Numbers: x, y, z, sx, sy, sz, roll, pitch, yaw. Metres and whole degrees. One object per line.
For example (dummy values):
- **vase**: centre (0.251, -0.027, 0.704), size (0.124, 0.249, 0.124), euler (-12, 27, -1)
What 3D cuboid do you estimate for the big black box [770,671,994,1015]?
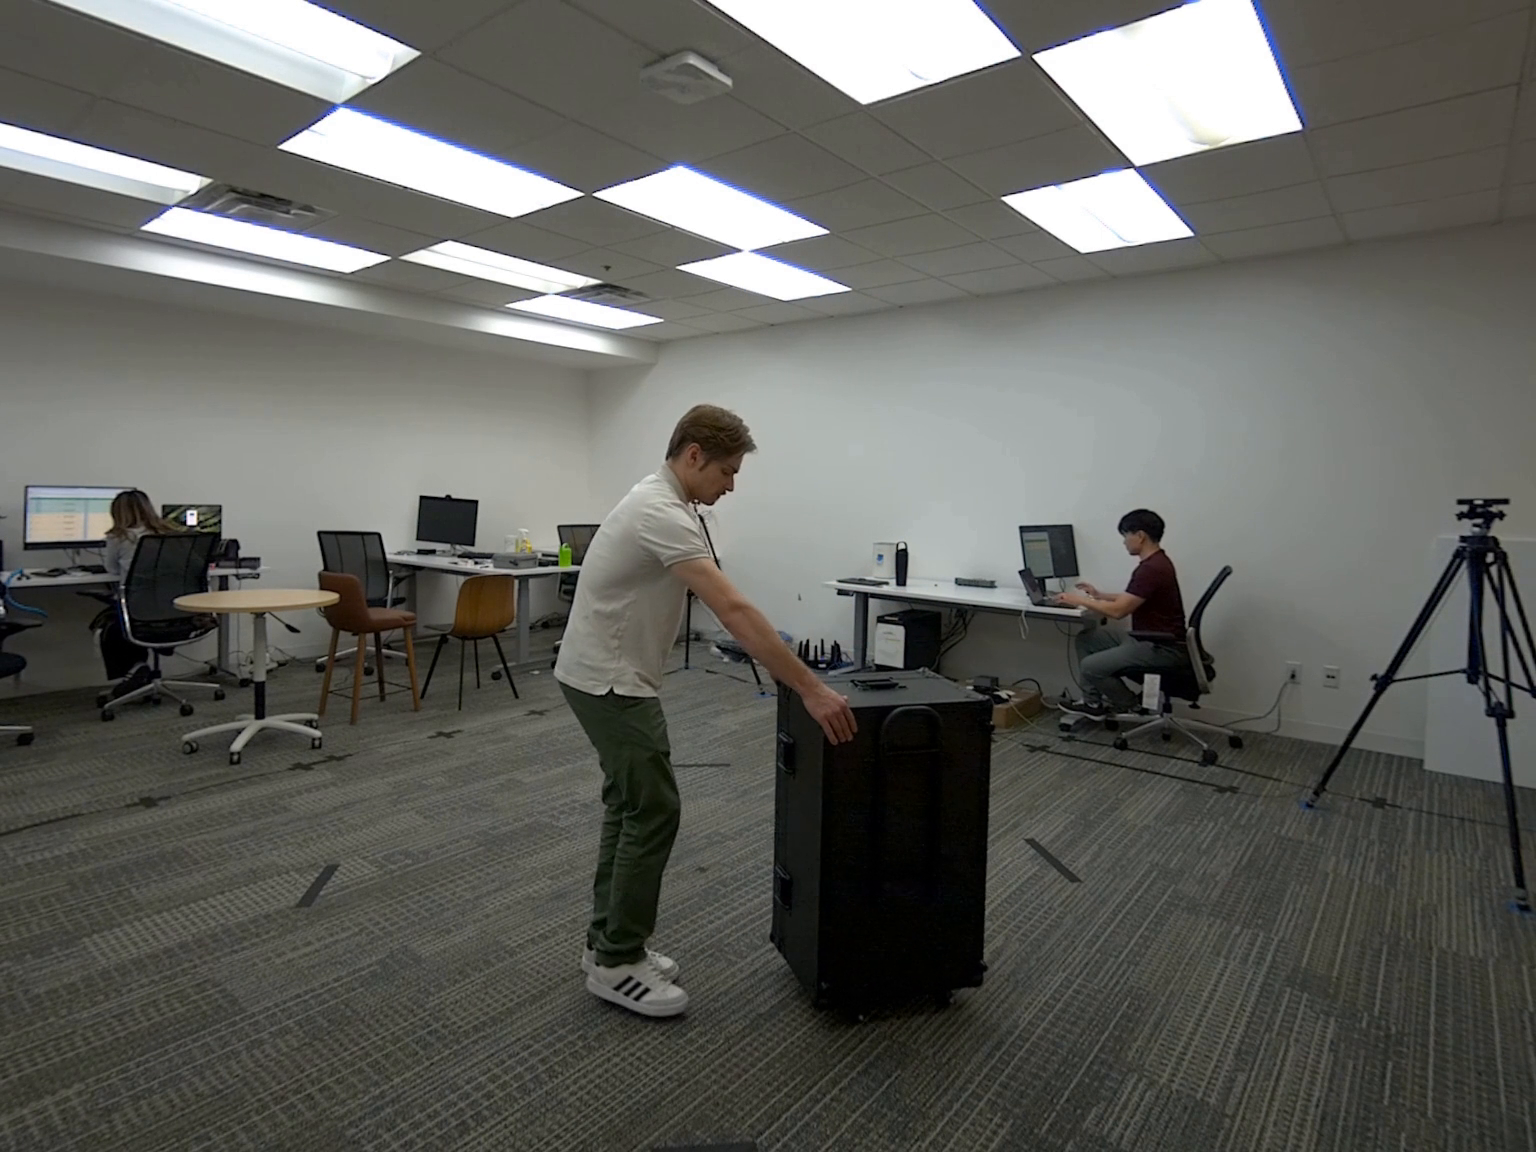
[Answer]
- **big black box**: centre (0.305, 0.734, 2.367), size (0.514, 0.865, 0.394), euler (0, 4, -18)
